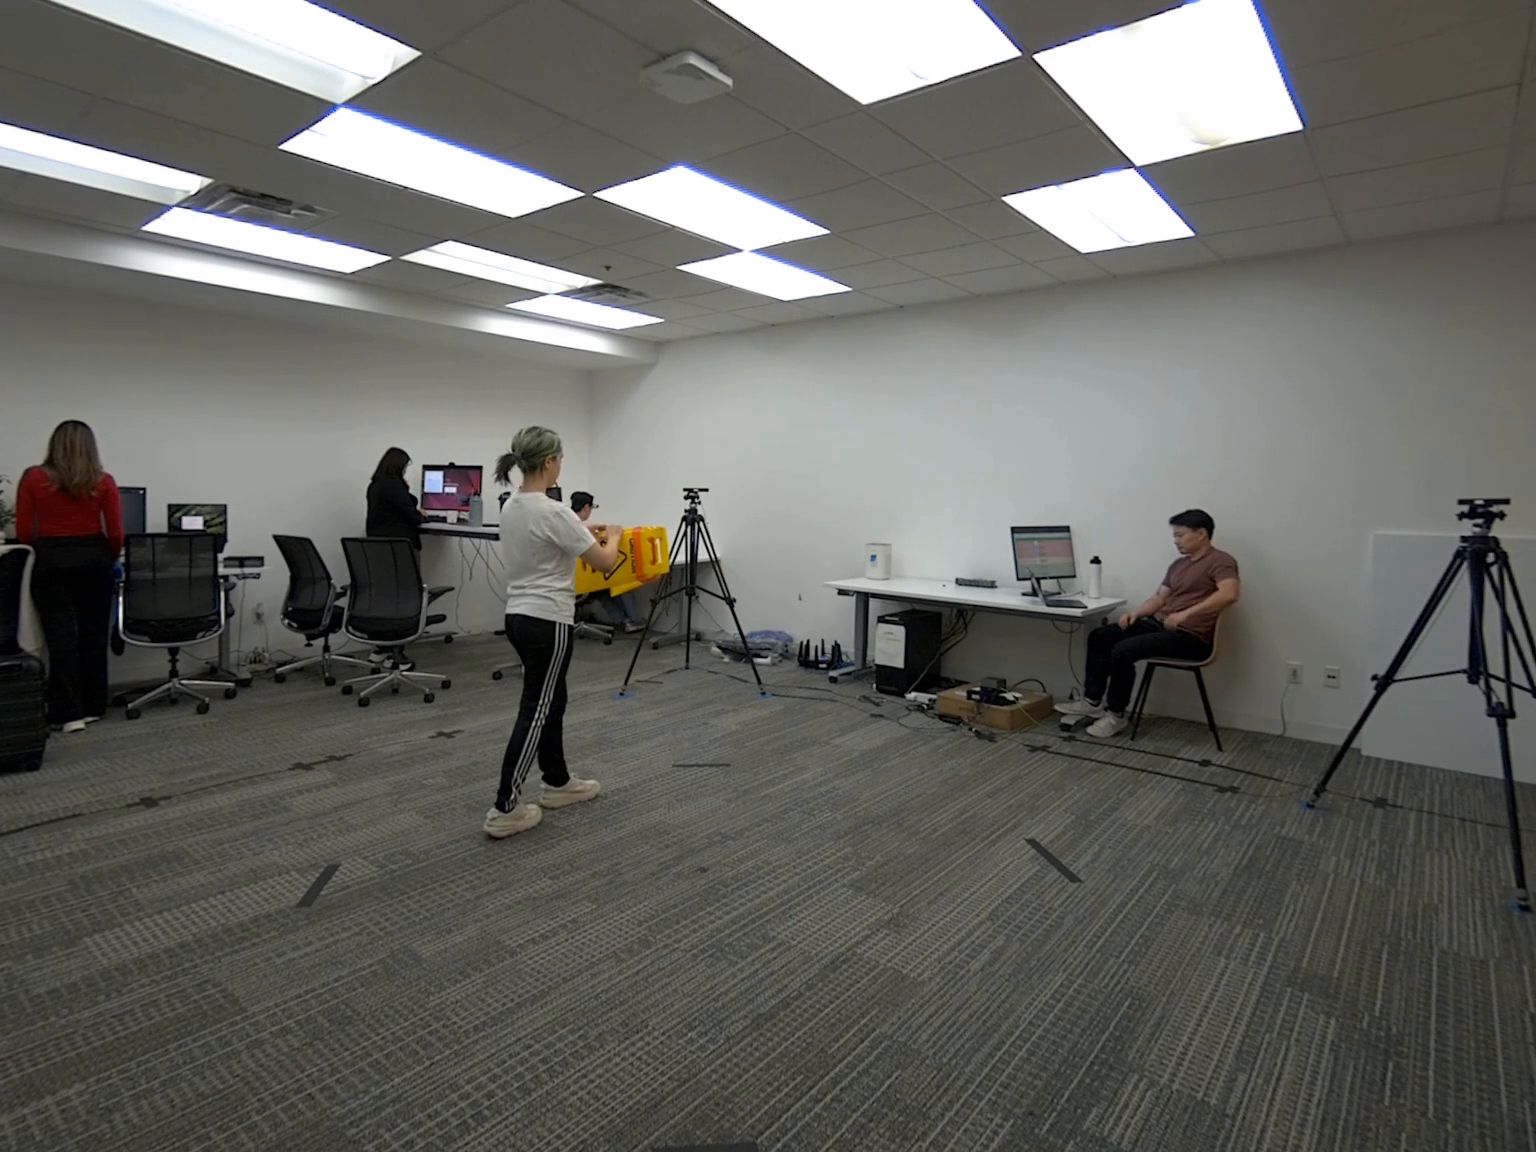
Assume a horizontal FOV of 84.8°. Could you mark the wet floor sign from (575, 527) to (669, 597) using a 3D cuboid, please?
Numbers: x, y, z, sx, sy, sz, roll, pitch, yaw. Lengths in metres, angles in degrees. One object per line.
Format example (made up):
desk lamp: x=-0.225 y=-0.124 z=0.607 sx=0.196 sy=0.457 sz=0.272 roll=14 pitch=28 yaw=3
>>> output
wet floor sign: x=-0.657 y=-0.082 z=3.781 sx=0.281 sy=0.284 sz=0.663 roll=-2 pitch=-5 yaw=-42
